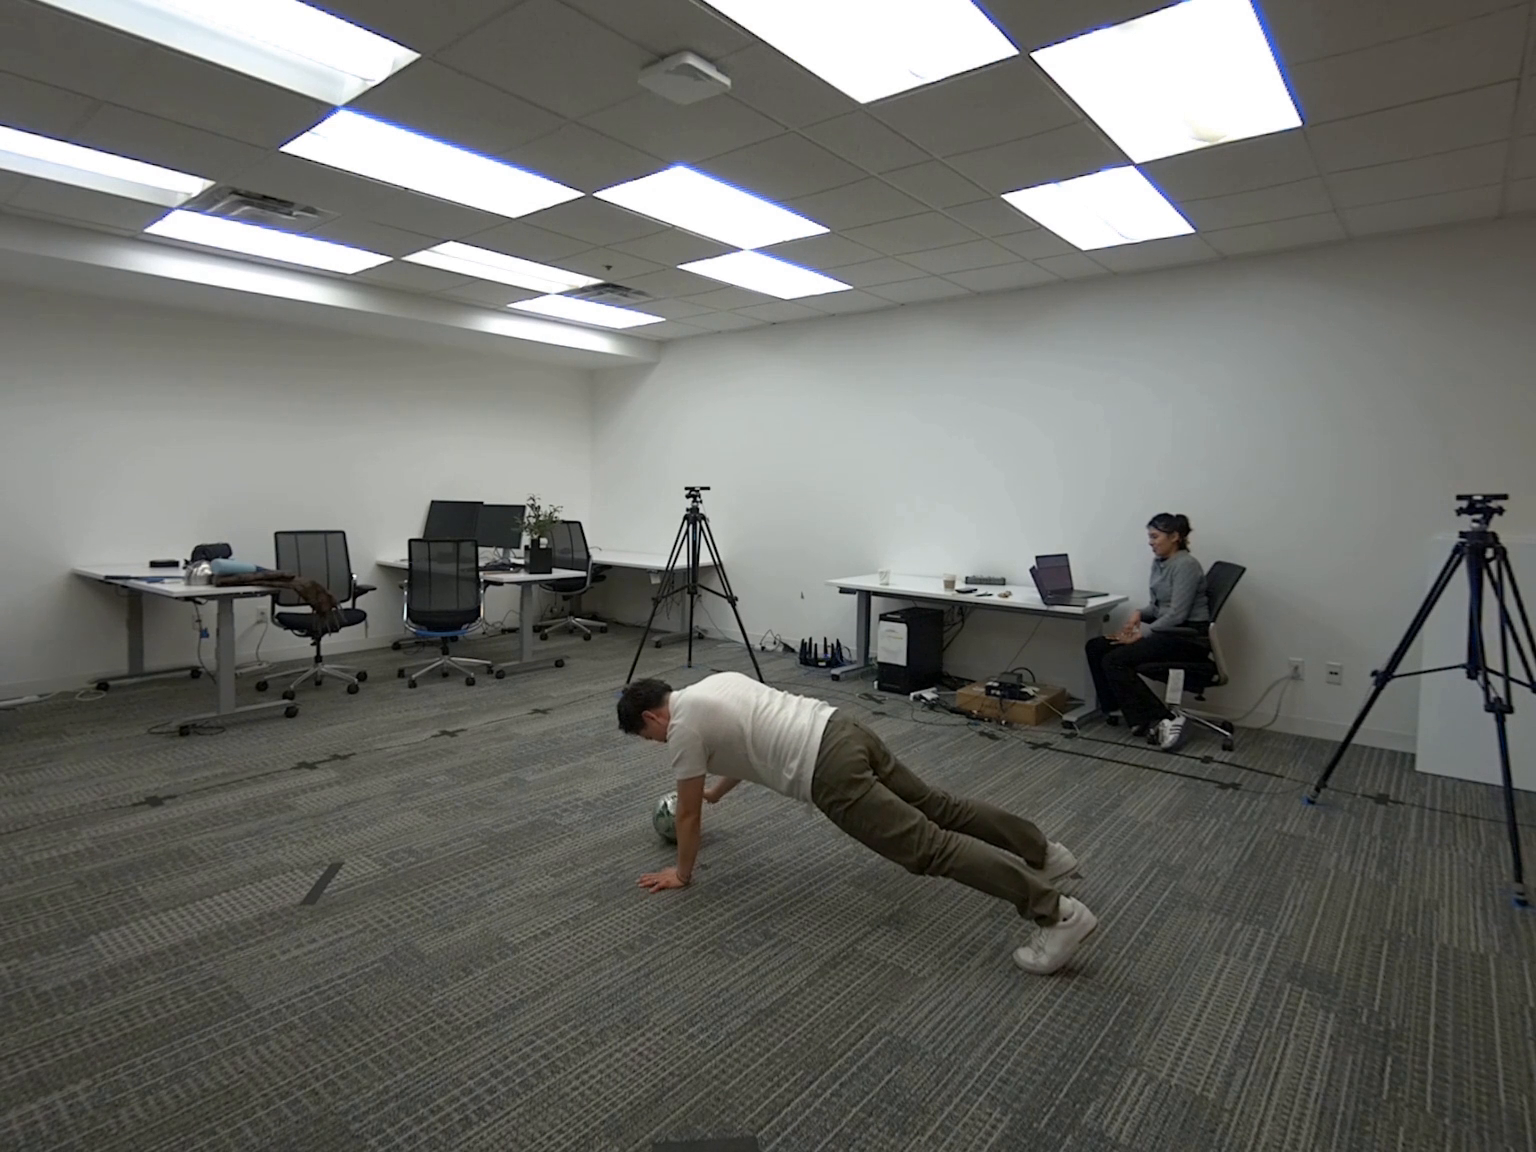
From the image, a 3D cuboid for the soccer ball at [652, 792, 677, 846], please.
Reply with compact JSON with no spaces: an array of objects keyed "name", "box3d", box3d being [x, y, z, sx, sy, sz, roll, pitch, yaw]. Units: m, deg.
[{"name":"soccer ball","box3d":[-0.371,0.944,3.348,0.187,0.187,0.188,1,4,-2]}]
